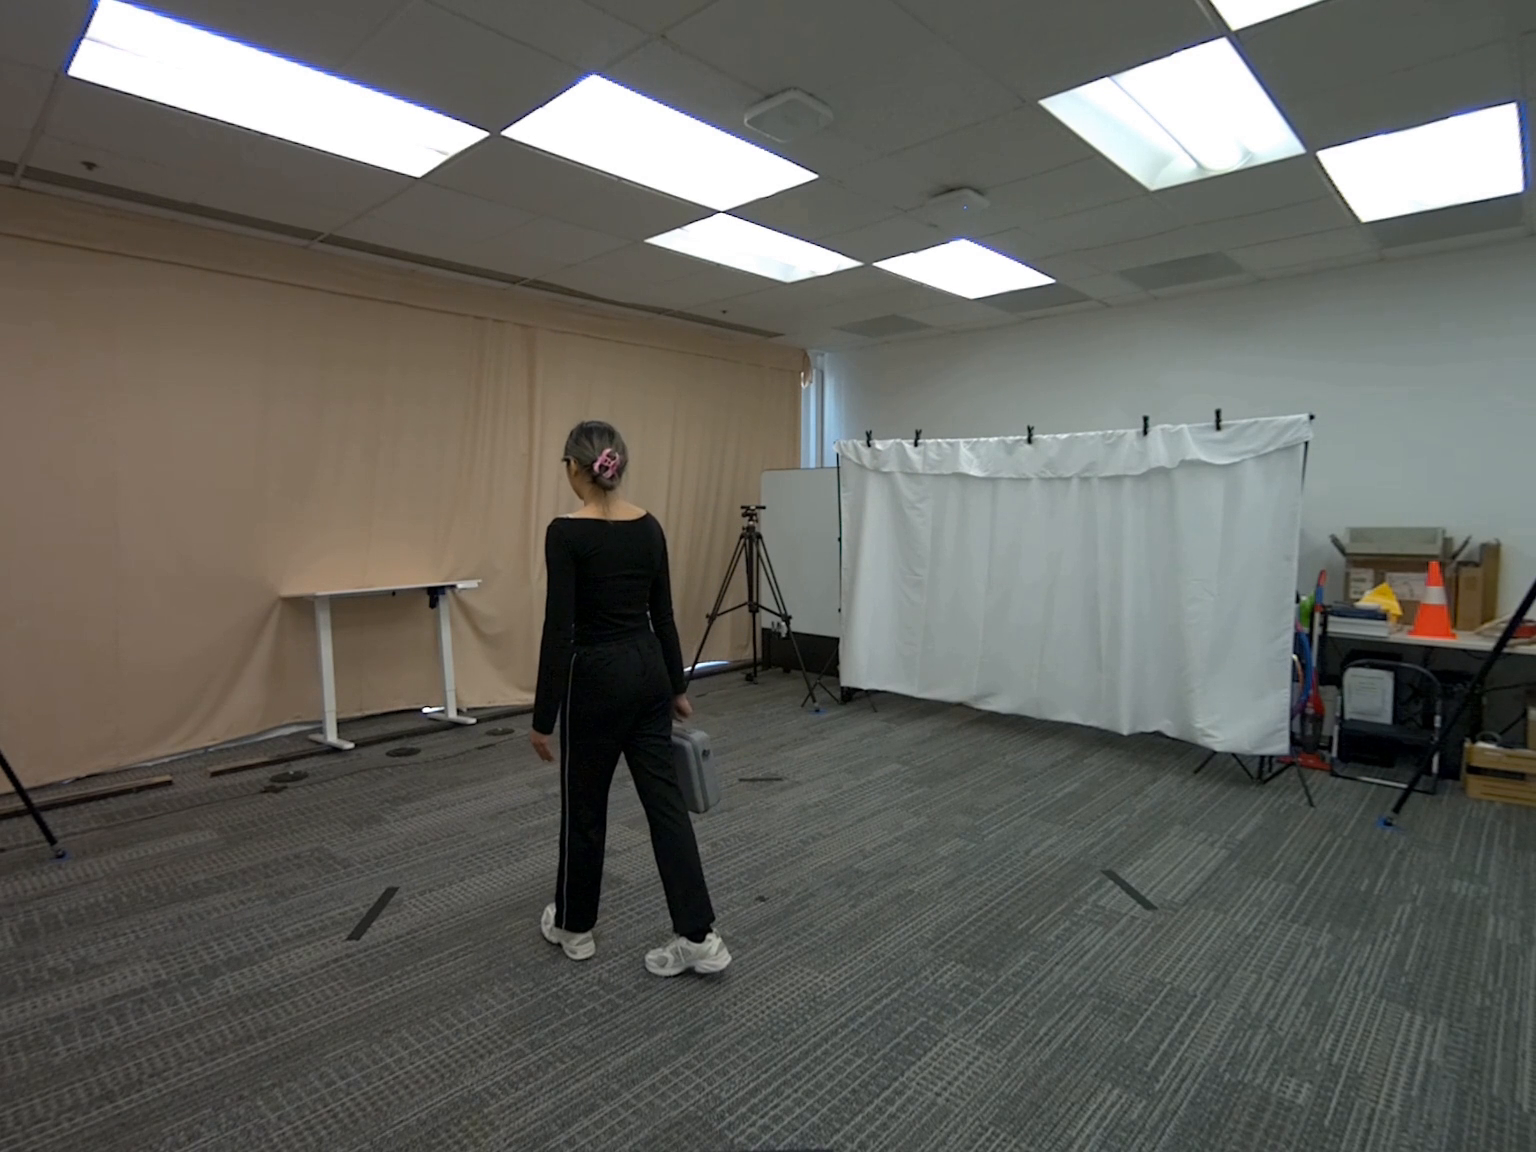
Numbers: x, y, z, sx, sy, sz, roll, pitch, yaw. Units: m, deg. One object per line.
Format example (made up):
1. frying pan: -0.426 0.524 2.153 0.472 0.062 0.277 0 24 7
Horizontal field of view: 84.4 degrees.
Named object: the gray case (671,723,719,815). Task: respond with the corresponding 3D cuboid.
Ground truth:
1. gray case: -0.289 0.613 2.732 0.101 0.259 0.265 -13 10 -39
